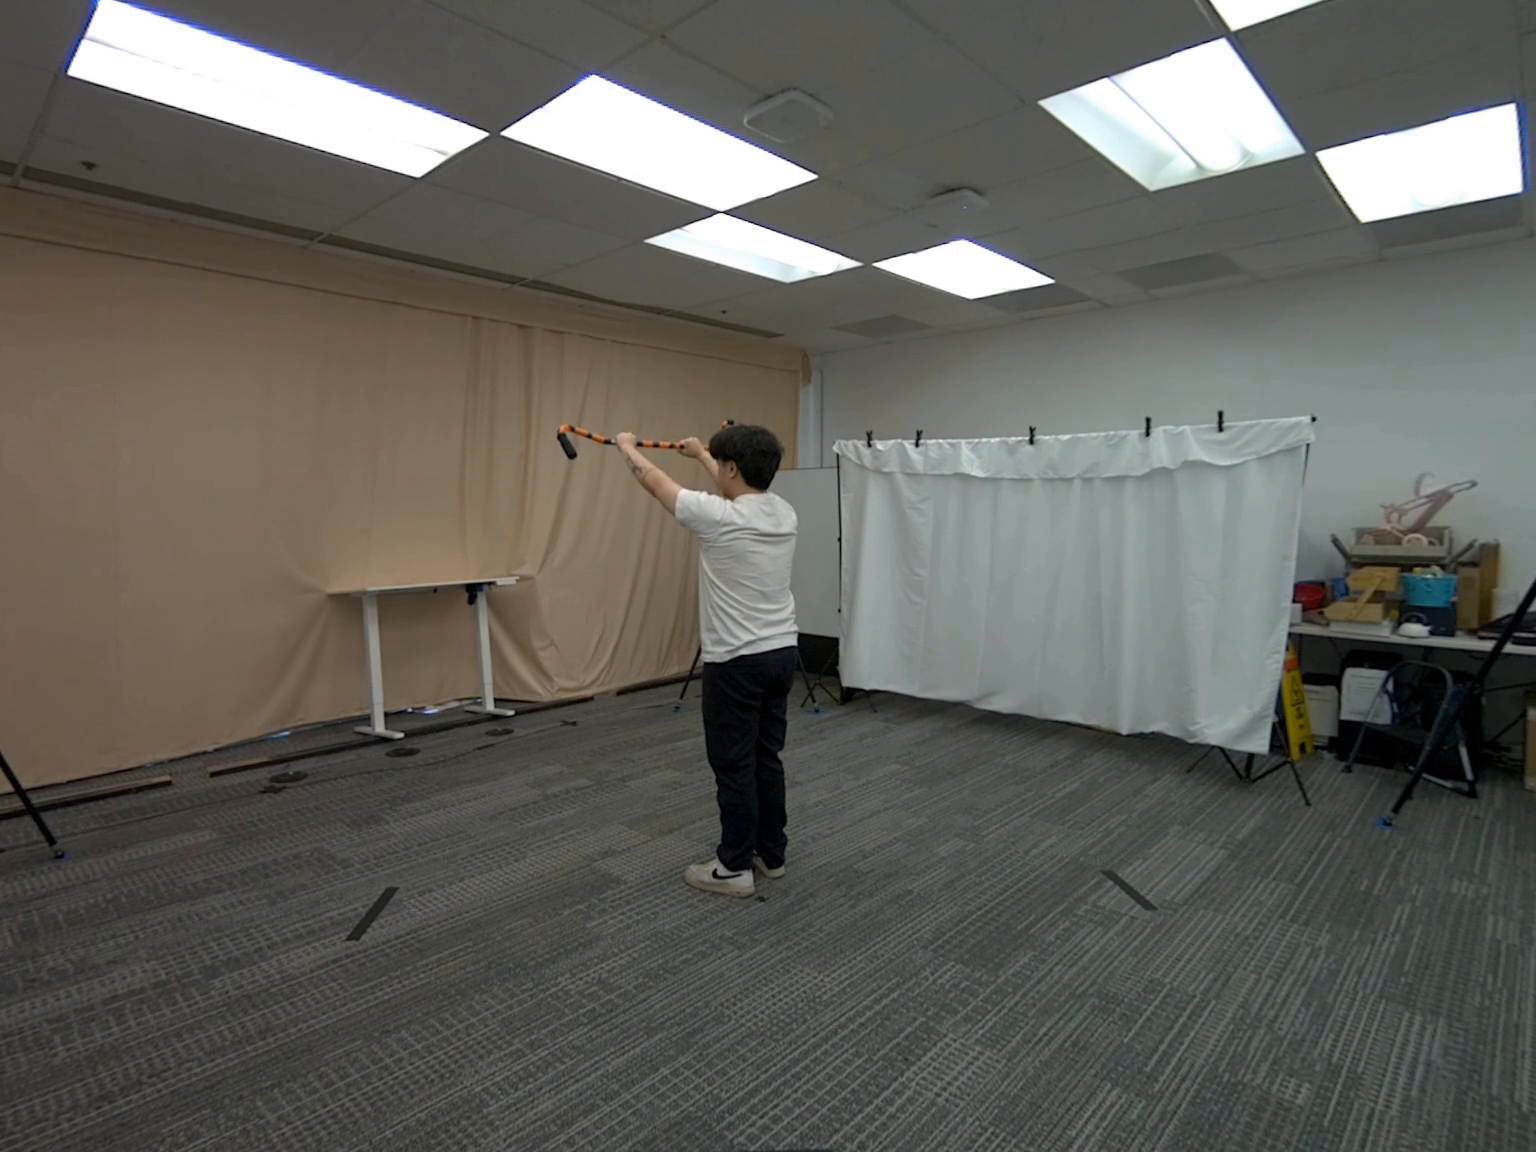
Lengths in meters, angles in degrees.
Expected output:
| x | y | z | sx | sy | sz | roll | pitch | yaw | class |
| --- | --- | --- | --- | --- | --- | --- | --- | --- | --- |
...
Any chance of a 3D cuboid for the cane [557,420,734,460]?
| x | y | z | sx | sy | sz | roll | pitch | yaw | class |
| --- | --- | --- | --- | --- | --- | --- | --- | --- | --- |
| -0.439 | -0.535 | 3.350 | 0.881 | 0.211 | 0.152 | -6 | -33 | -48 | cane |
